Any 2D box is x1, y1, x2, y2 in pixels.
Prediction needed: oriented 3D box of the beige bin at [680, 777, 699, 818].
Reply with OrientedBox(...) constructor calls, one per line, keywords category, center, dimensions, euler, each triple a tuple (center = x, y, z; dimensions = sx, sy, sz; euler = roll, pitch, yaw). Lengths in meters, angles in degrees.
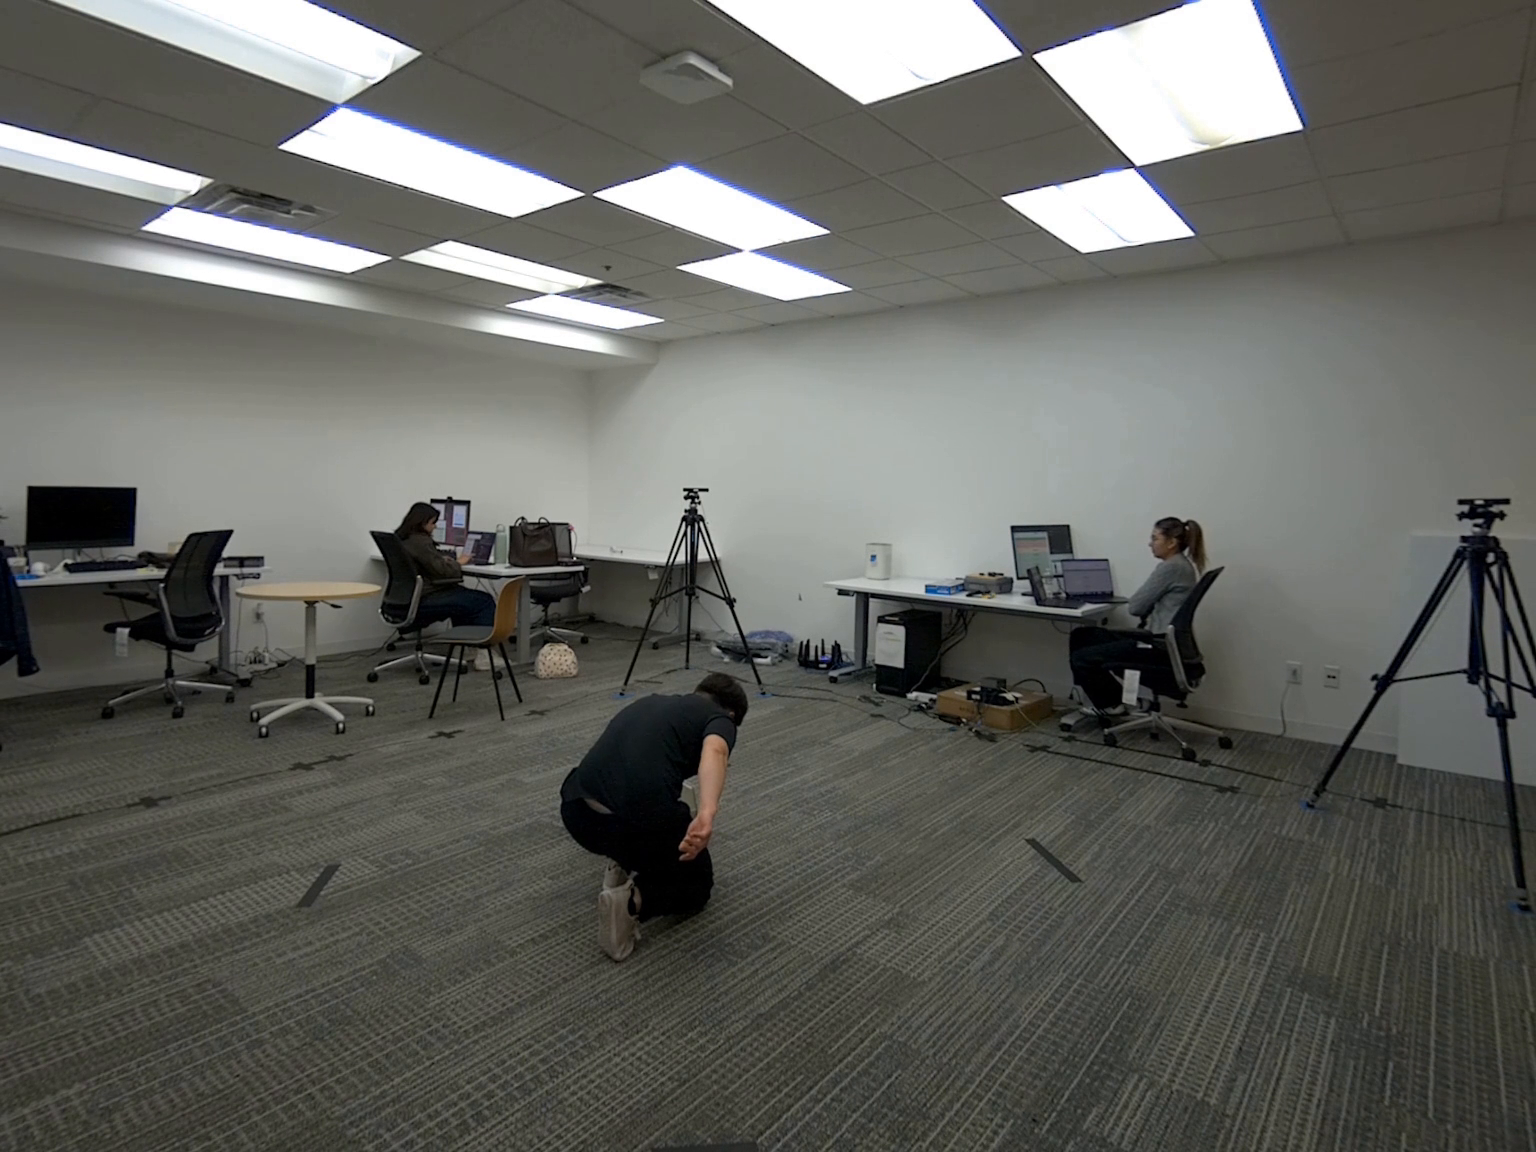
OrientedBox(category="beige bin", center=(-0.569, 0.932, 3.479), dimensions=(0.410, 0.188, 0.390), euler=(-4, 6, -37))
